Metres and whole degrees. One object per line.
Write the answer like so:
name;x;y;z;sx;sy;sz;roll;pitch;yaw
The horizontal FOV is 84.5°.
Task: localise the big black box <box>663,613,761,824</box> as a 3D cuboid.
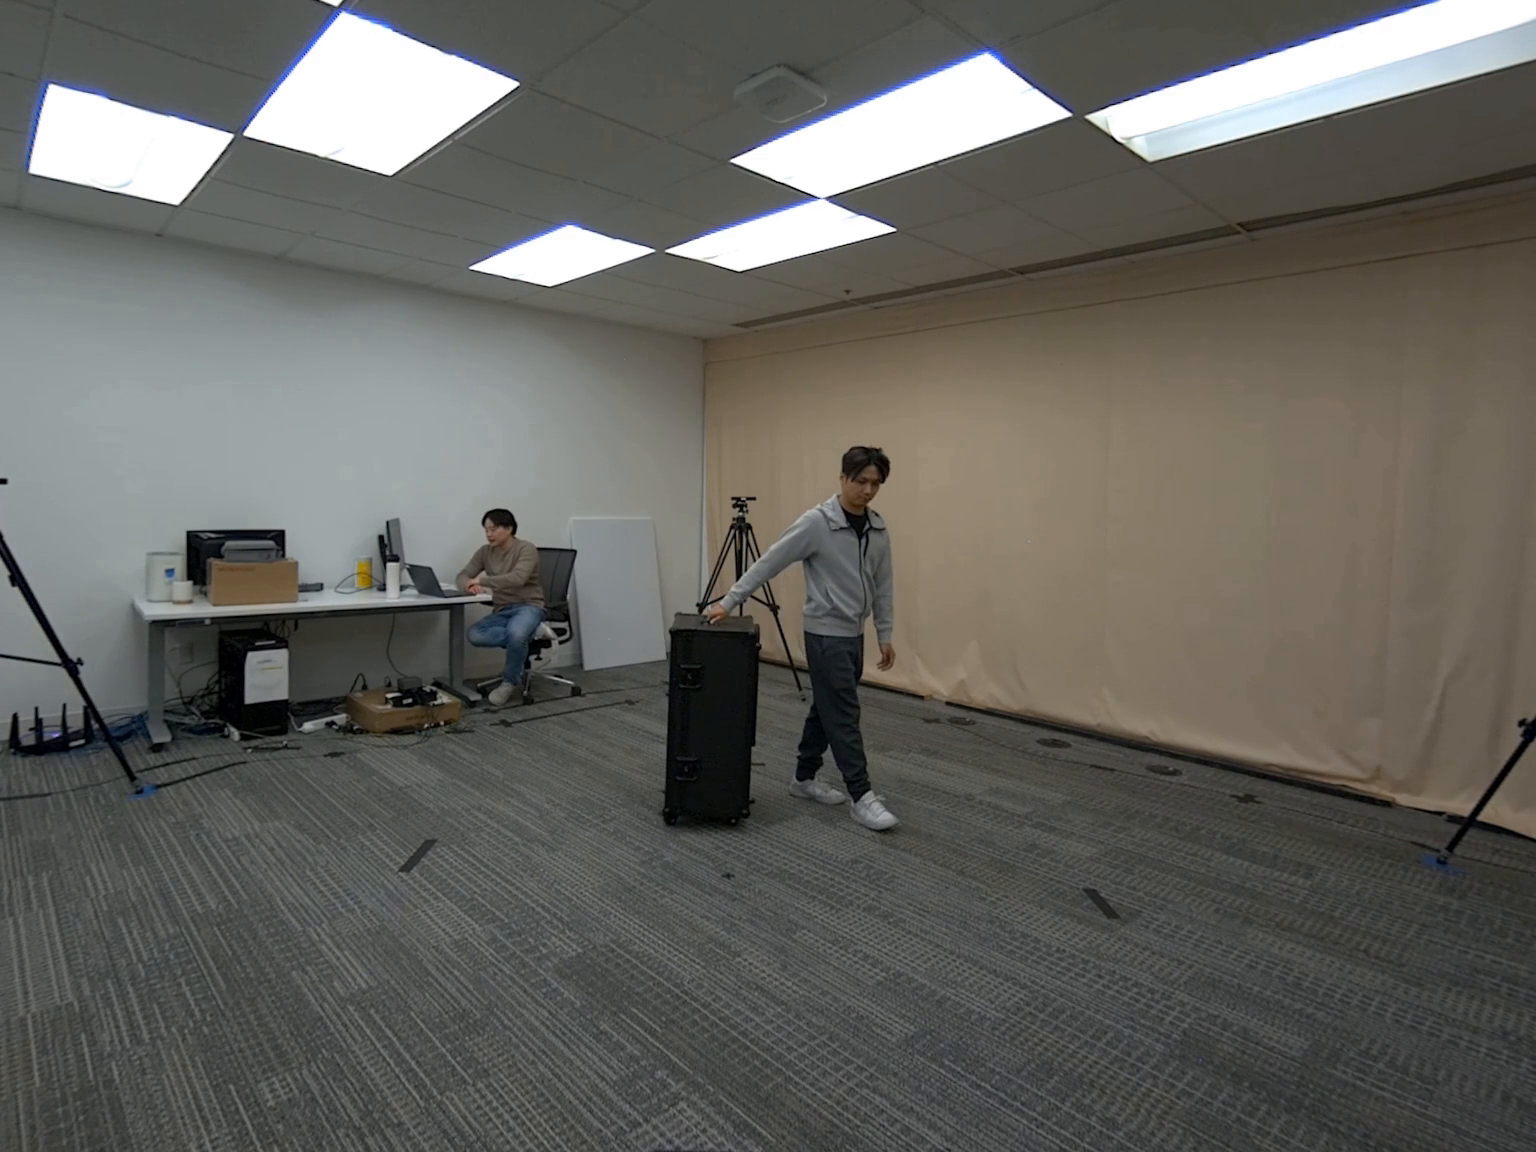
big black box;-0.253;0.630;3.715;0.396;0.860;0.523;3;3;-2
